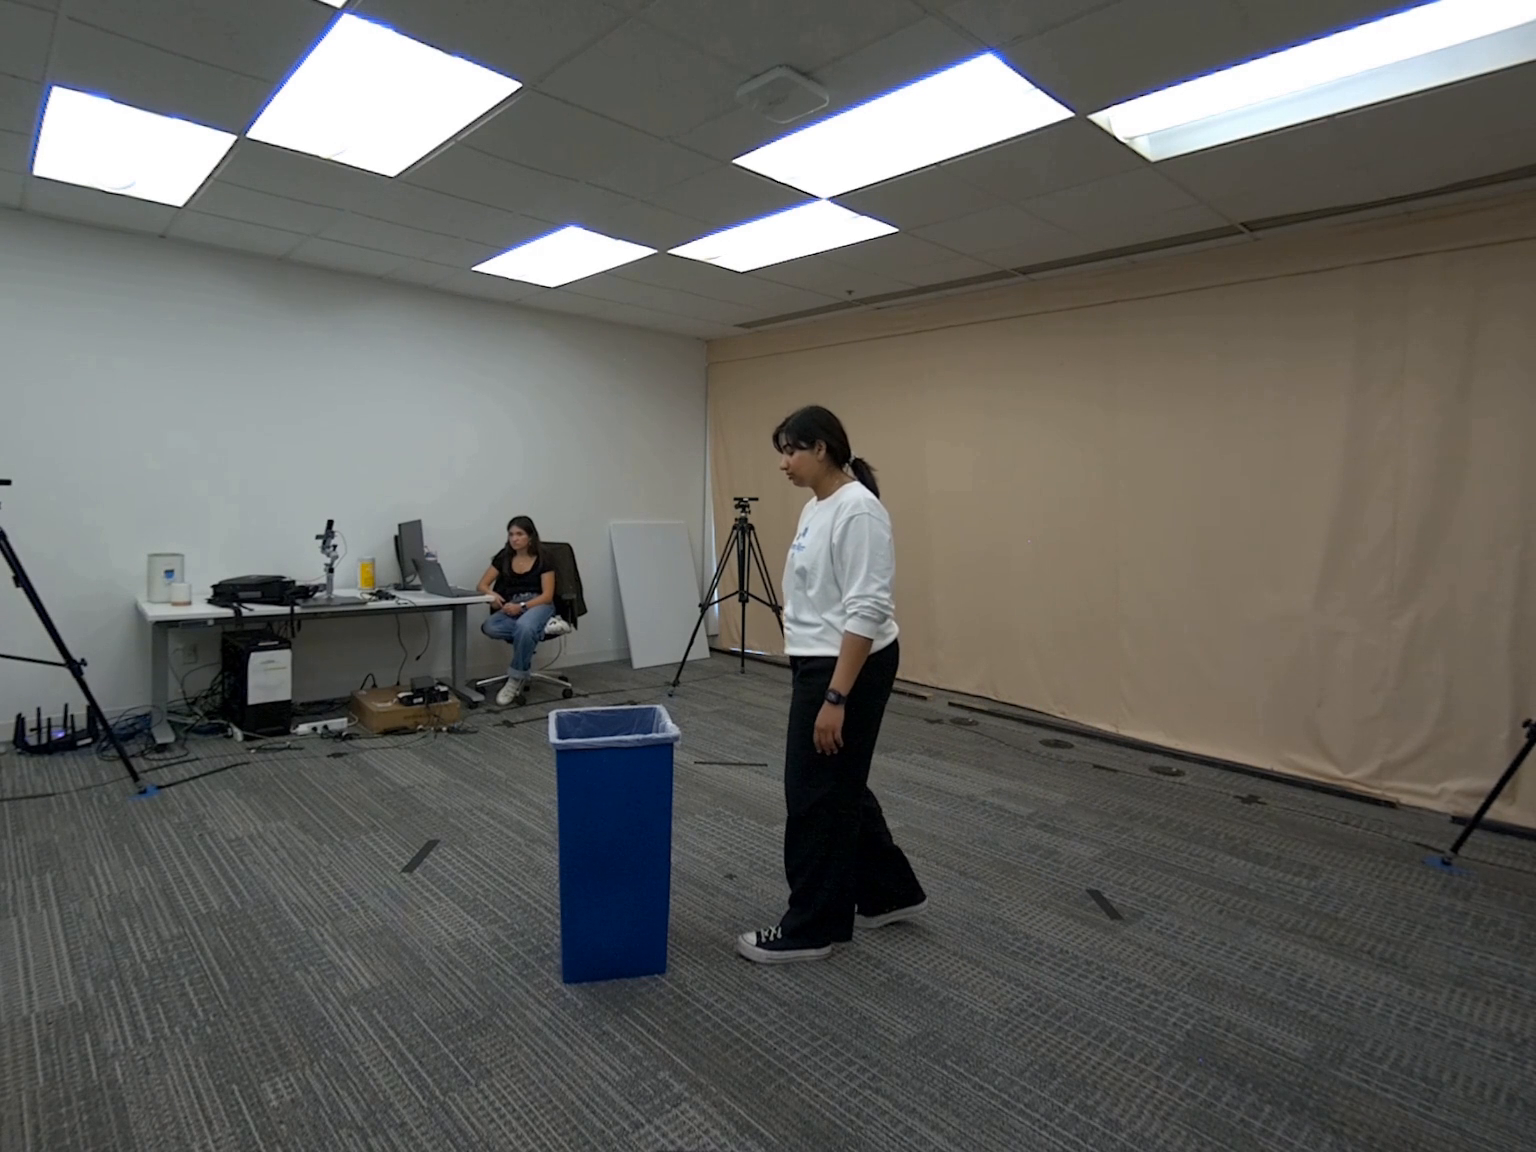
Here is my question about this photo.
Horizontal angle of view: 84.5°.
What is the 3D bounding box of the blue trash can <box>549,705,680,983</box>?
[{"bbox_3d":[-0.479,0.791,2.556,0.370,0.712,0.383,0,3,-13],"label":"blue trash can"}]
